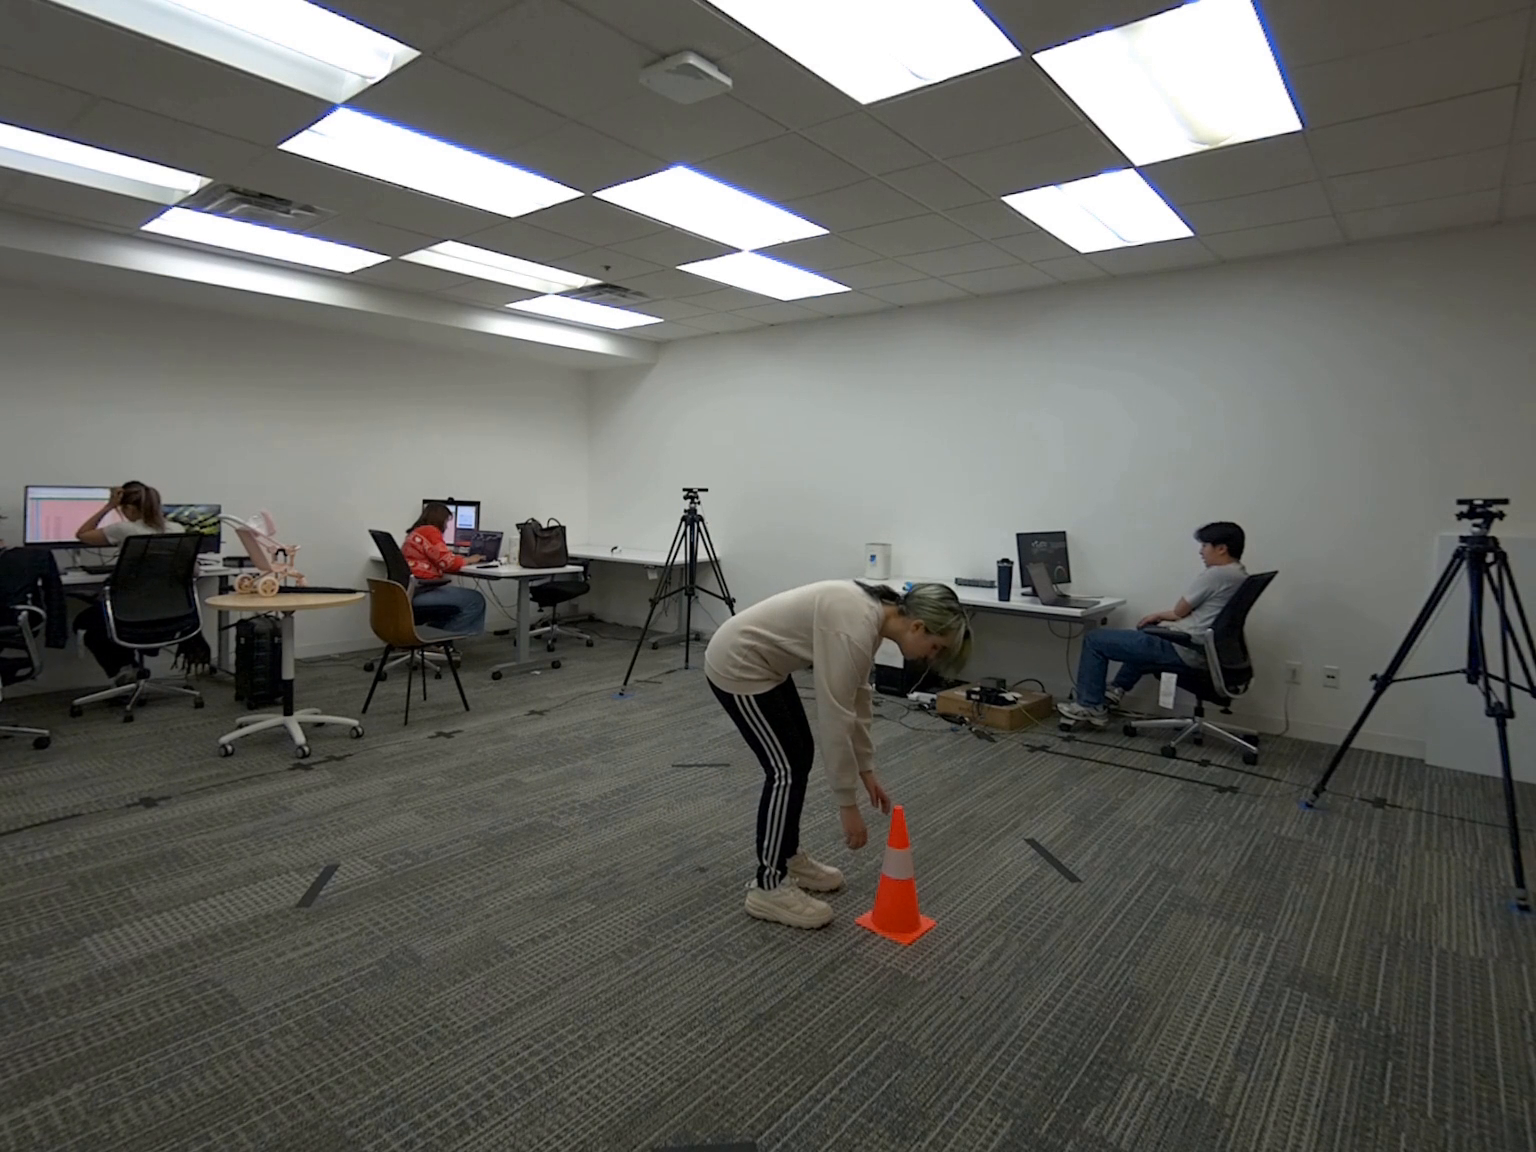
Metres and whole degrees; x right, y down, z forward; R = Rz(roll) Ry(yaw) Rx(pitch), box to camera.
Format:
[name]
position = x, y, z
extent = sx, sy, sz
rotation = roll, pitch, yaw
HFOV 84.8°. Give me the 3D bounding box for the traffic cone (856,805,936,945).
[traffic cone]
position = 0.410, 0.934, 2.745
extent = 0.210, 0.383, 0.199
rotation = 2, 4, 39
